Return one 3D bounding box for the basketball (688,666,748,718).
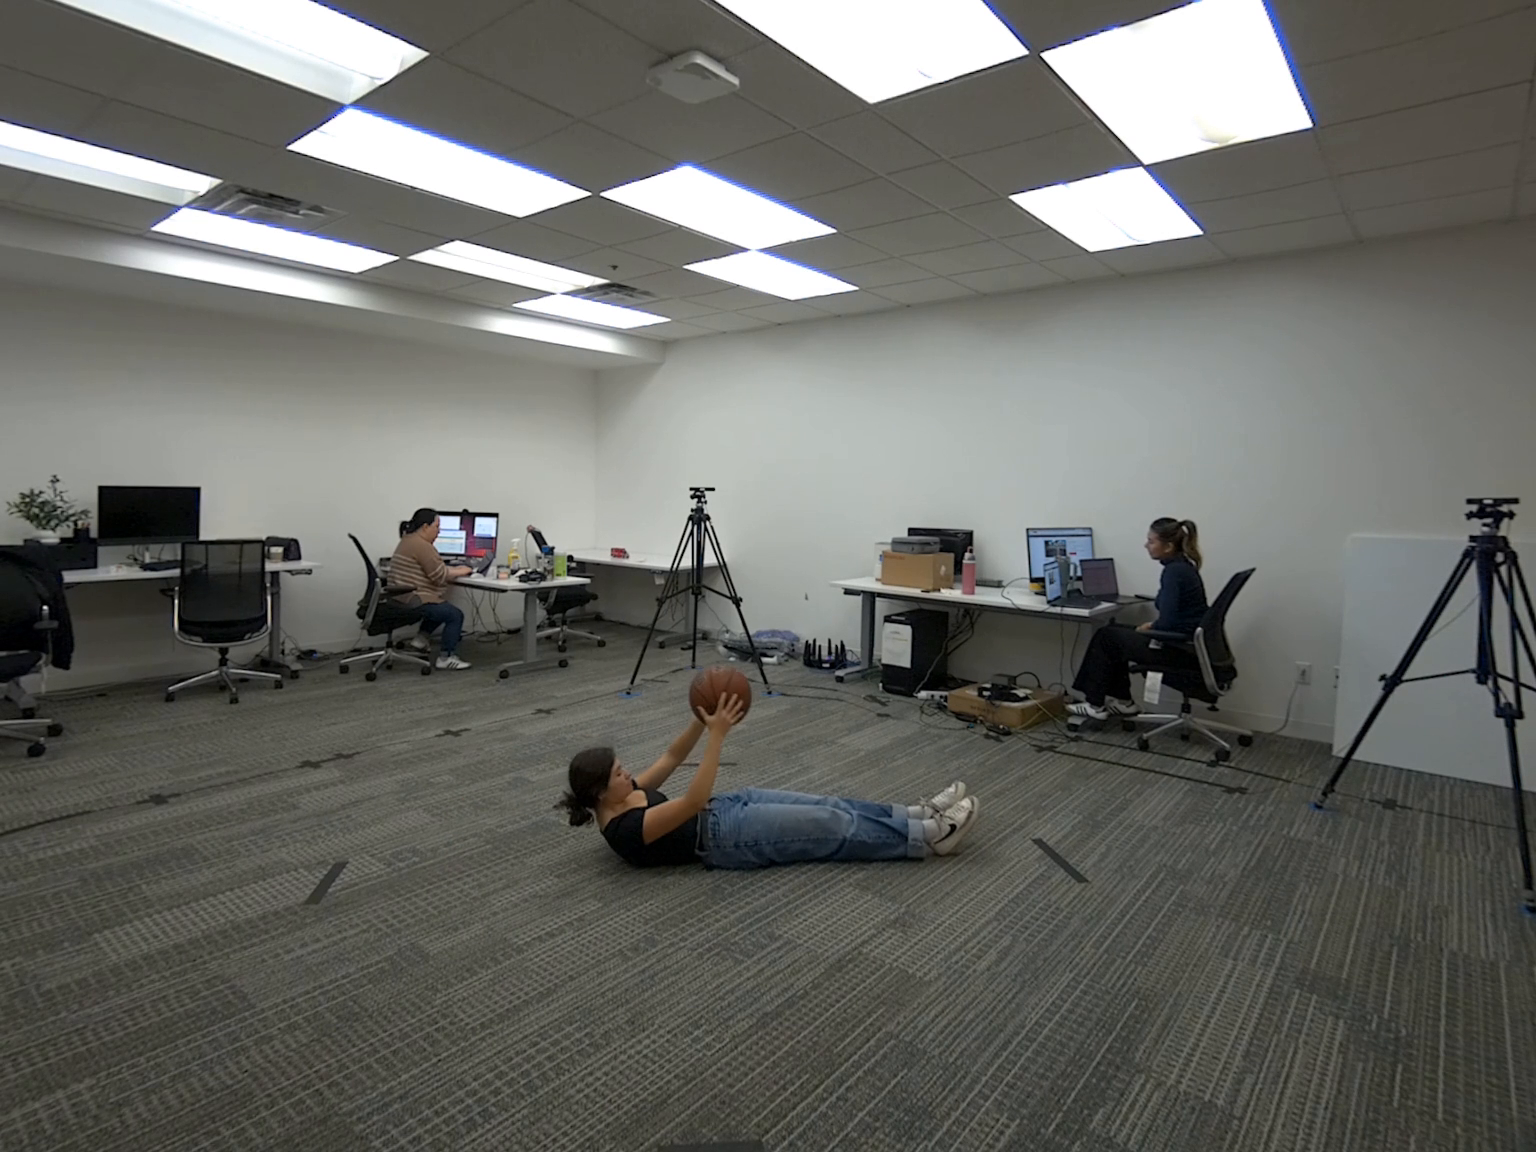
[{"bbox_3d":[-0.232,0.451,3.199,0.235,0.235,0.237,1,4,-2],"label":"basketball"}]
